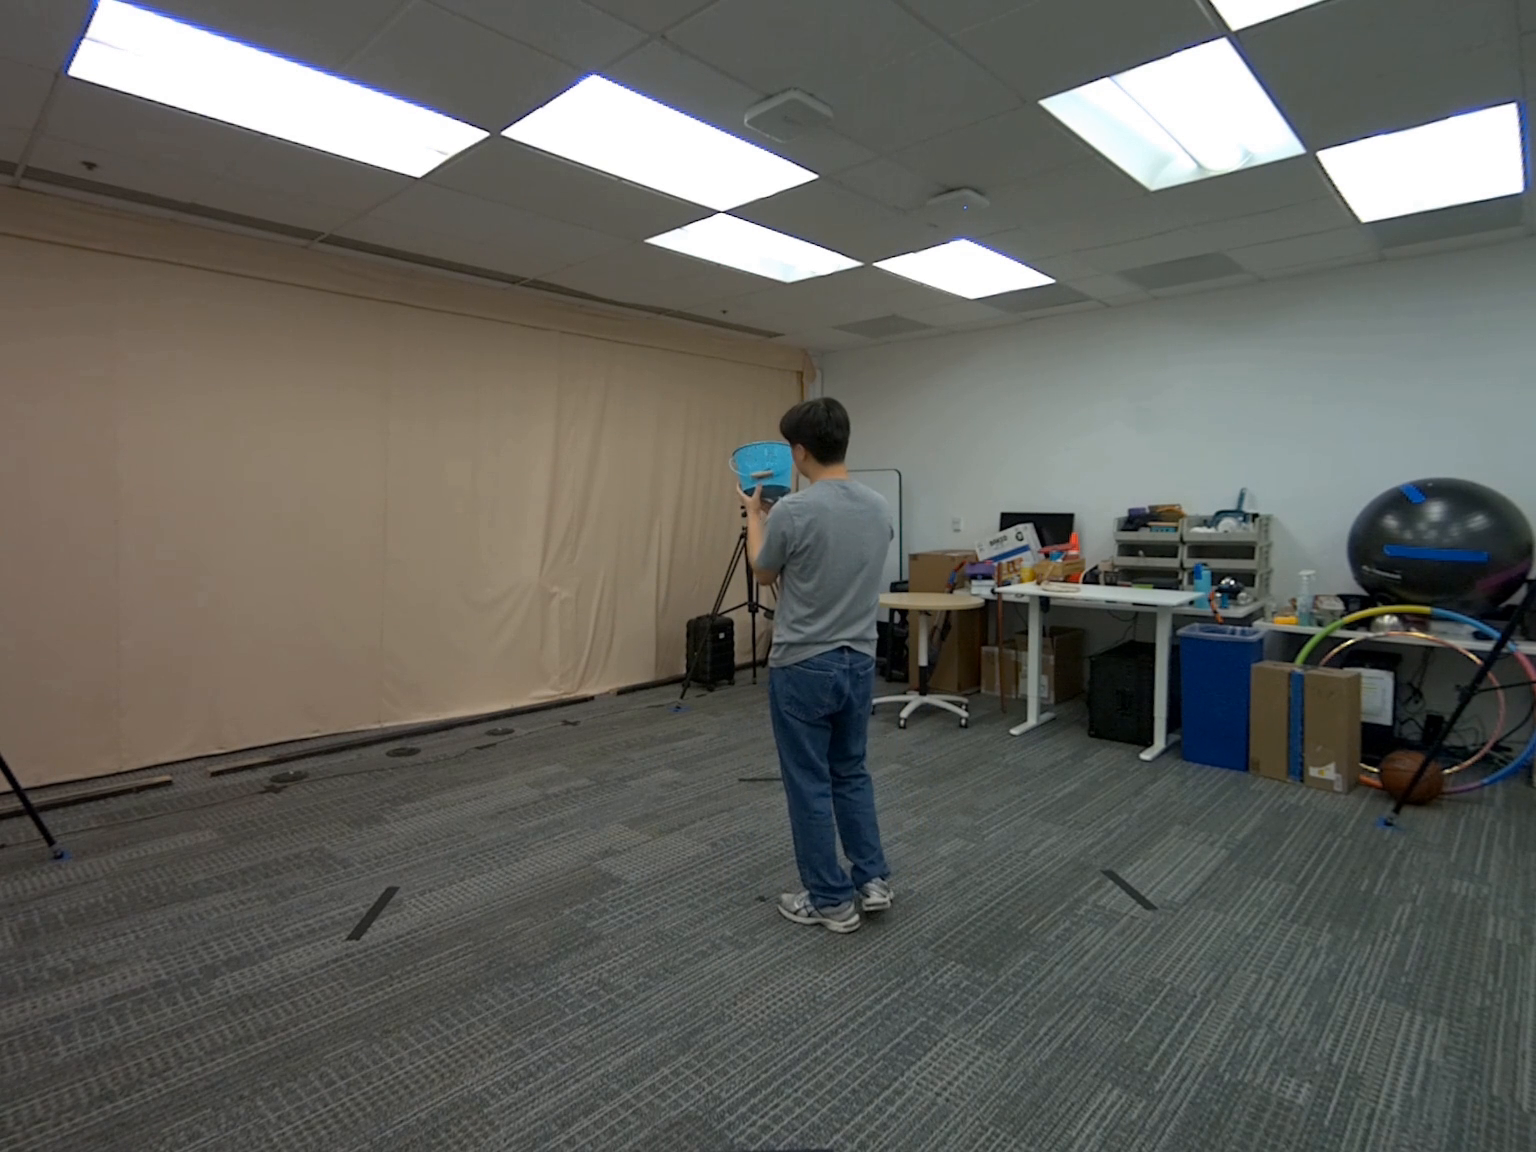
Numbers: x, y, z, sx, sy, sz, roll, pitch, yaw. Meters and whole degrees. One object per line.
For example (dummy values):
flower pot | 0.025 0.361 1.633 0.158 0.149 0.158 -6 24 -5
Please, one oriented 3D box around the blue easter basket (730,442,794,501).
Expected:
blue easter basket | -0.010 -0.381 3.076 0.243 0.157 0.242 -3 -11 -2
